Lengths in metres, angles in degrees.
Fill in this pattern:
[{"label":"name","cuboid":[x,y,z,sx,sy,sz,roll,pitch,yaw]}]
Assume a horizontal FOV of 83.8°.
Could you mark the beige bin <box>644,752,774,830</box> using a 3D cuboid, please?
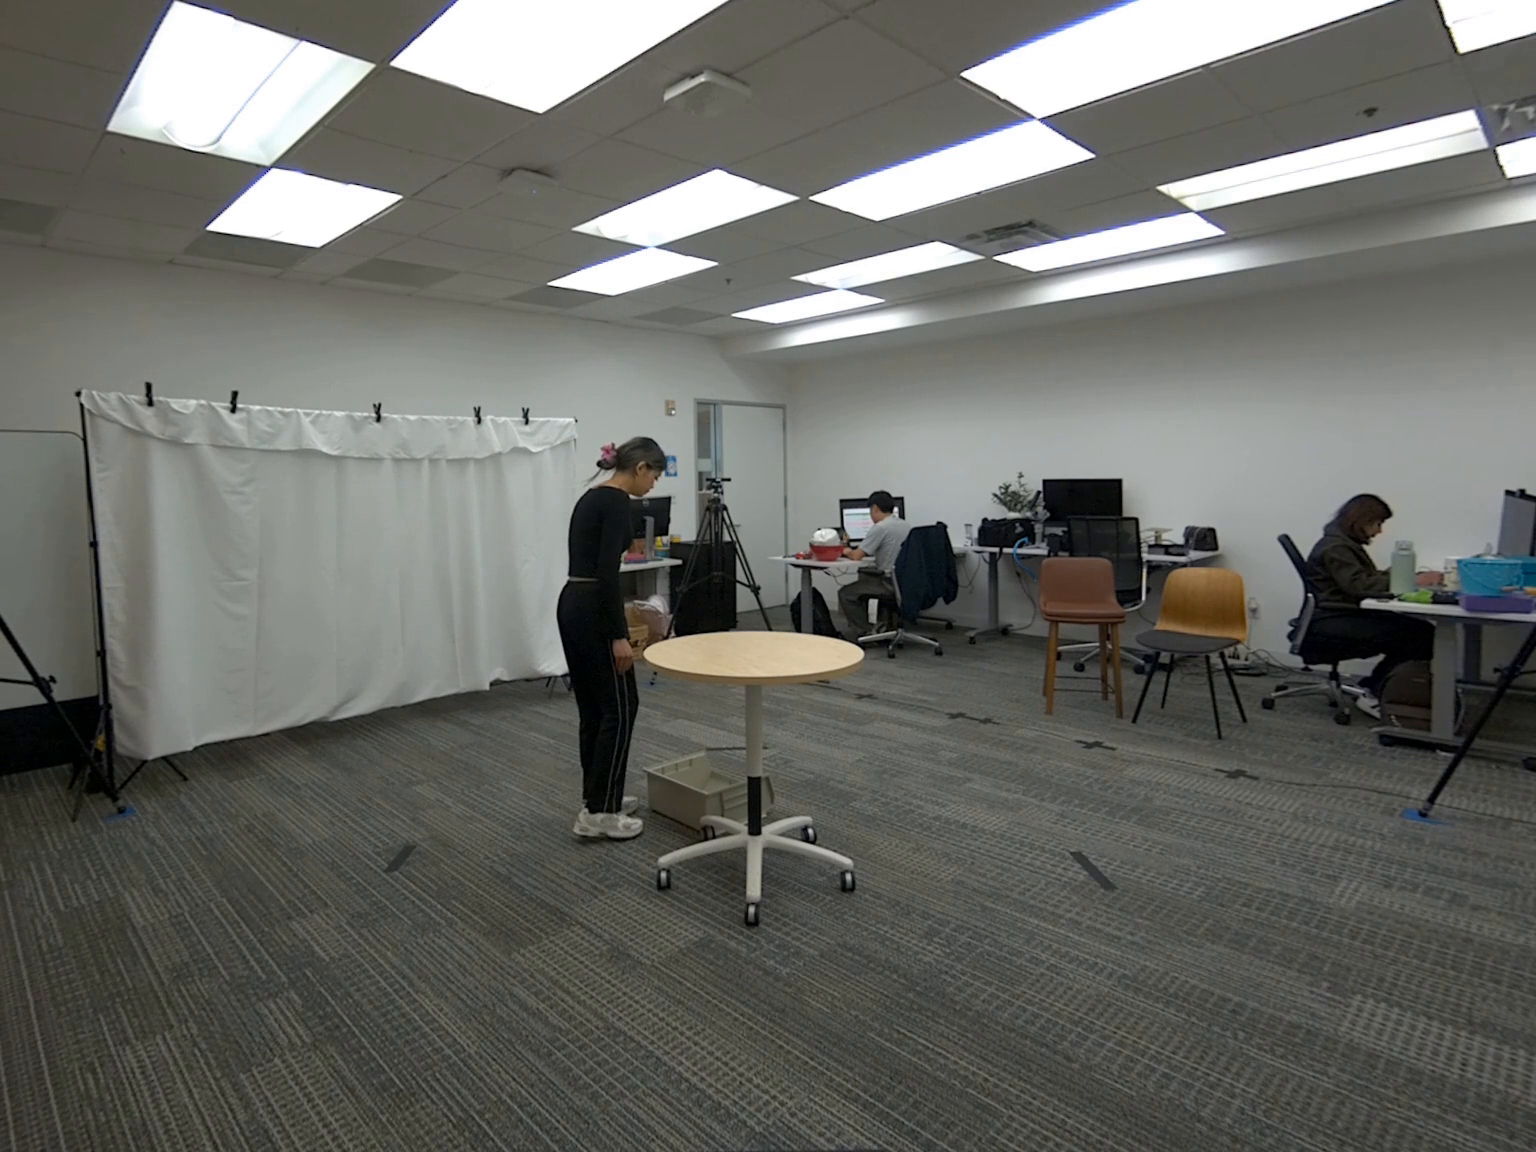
[{"label":"beige bin","cuboid":[-0.248,0.905,3.590,0.367,0.188,0.435,-7,8,-43]}]
